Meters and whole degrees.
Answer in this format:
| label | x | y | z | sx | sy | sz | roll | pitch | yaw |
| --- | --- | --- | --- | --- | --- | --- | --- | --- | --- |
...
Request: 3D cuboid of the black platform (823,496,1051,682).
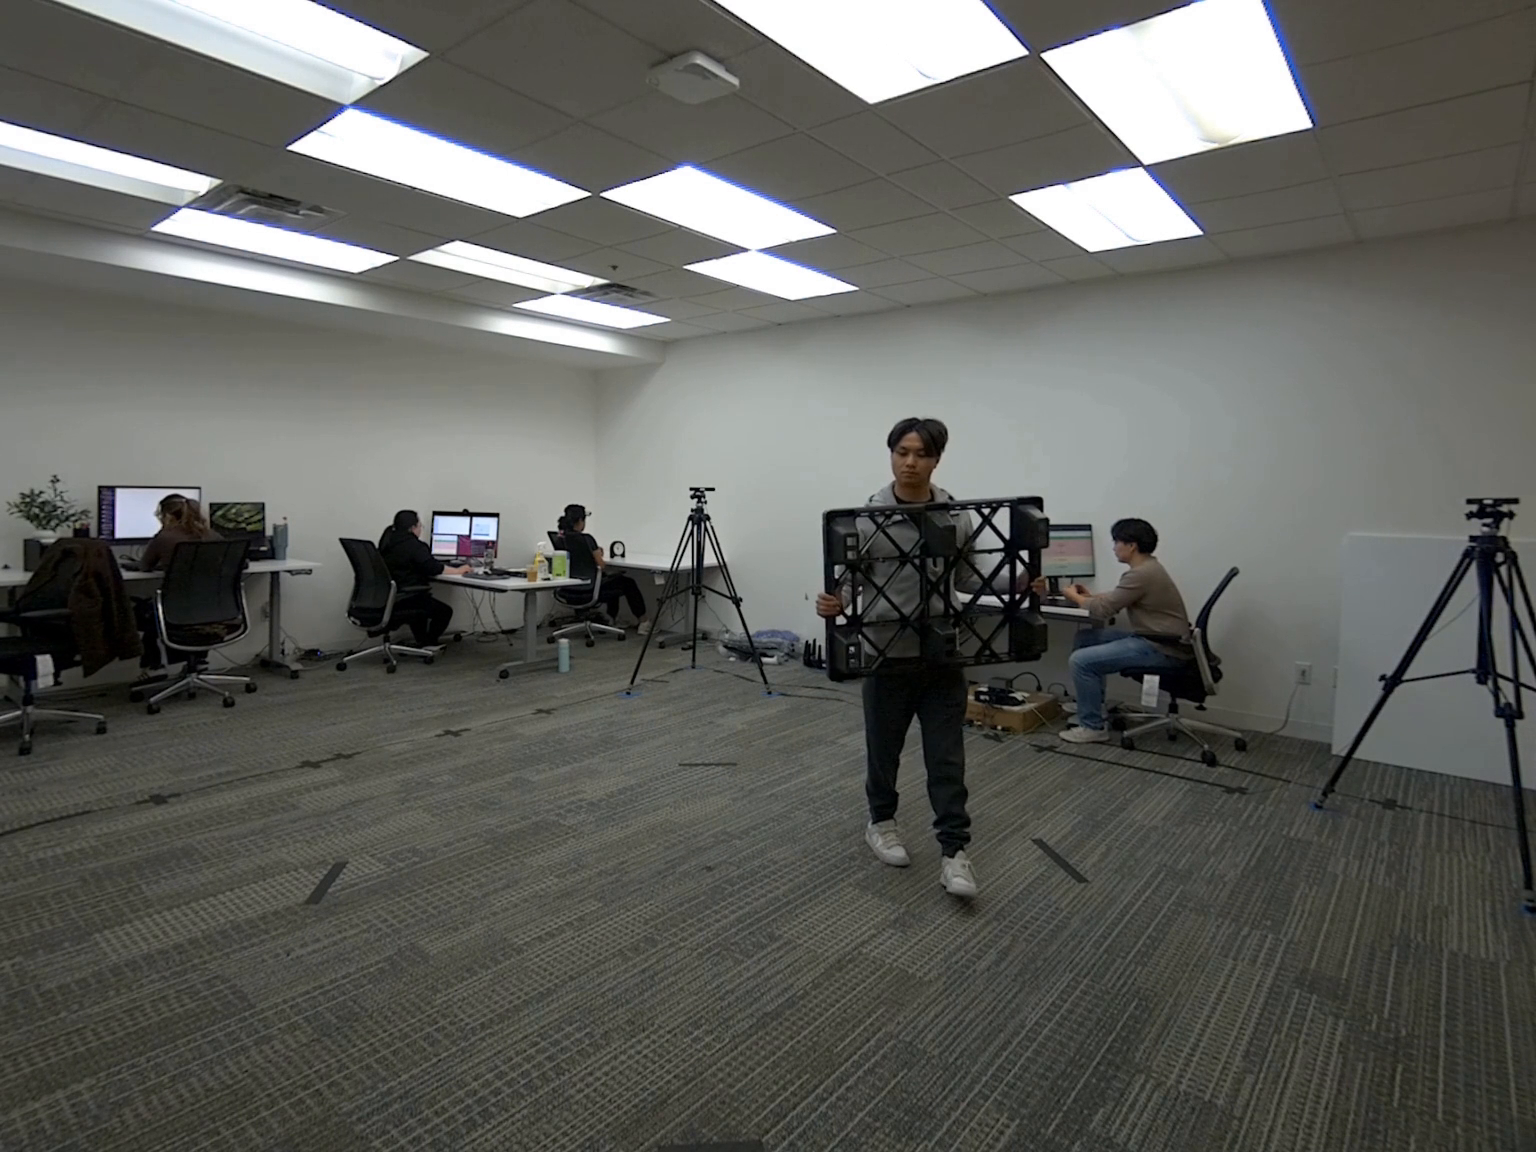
| label | x | y | z | sx | sy | sz | roll | pitch | yaw |
| --- | --- | --- | --- | --- | --- | --- | --- | --- | --- |
| black platform | 0.593 | 0.051 | 2.924 | 0.796 | 0.600 | 0.146 | -4 | 8 | -12 |
